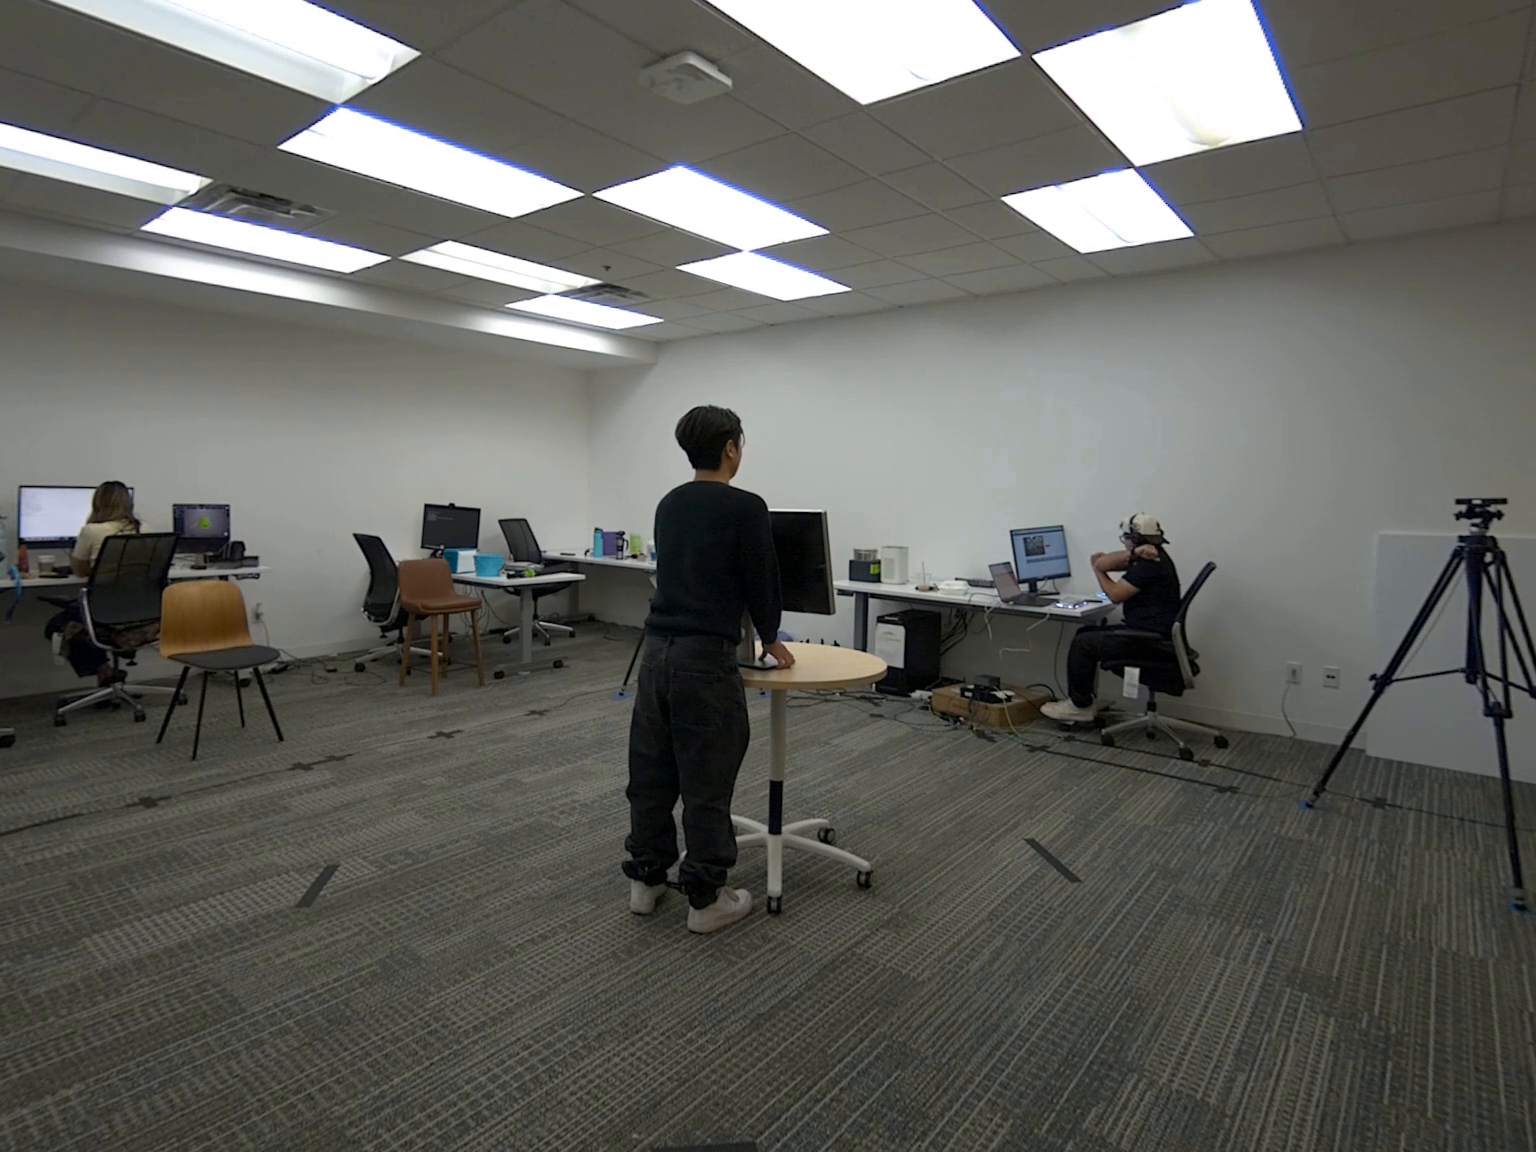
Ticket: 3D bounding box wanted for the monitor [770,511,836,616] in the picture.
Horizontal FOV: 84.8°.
[{"bbox_3d":[-0.055,0.035,2.995,0.556,0.521,0.181,4,3,35],"label":"monitor"}]
